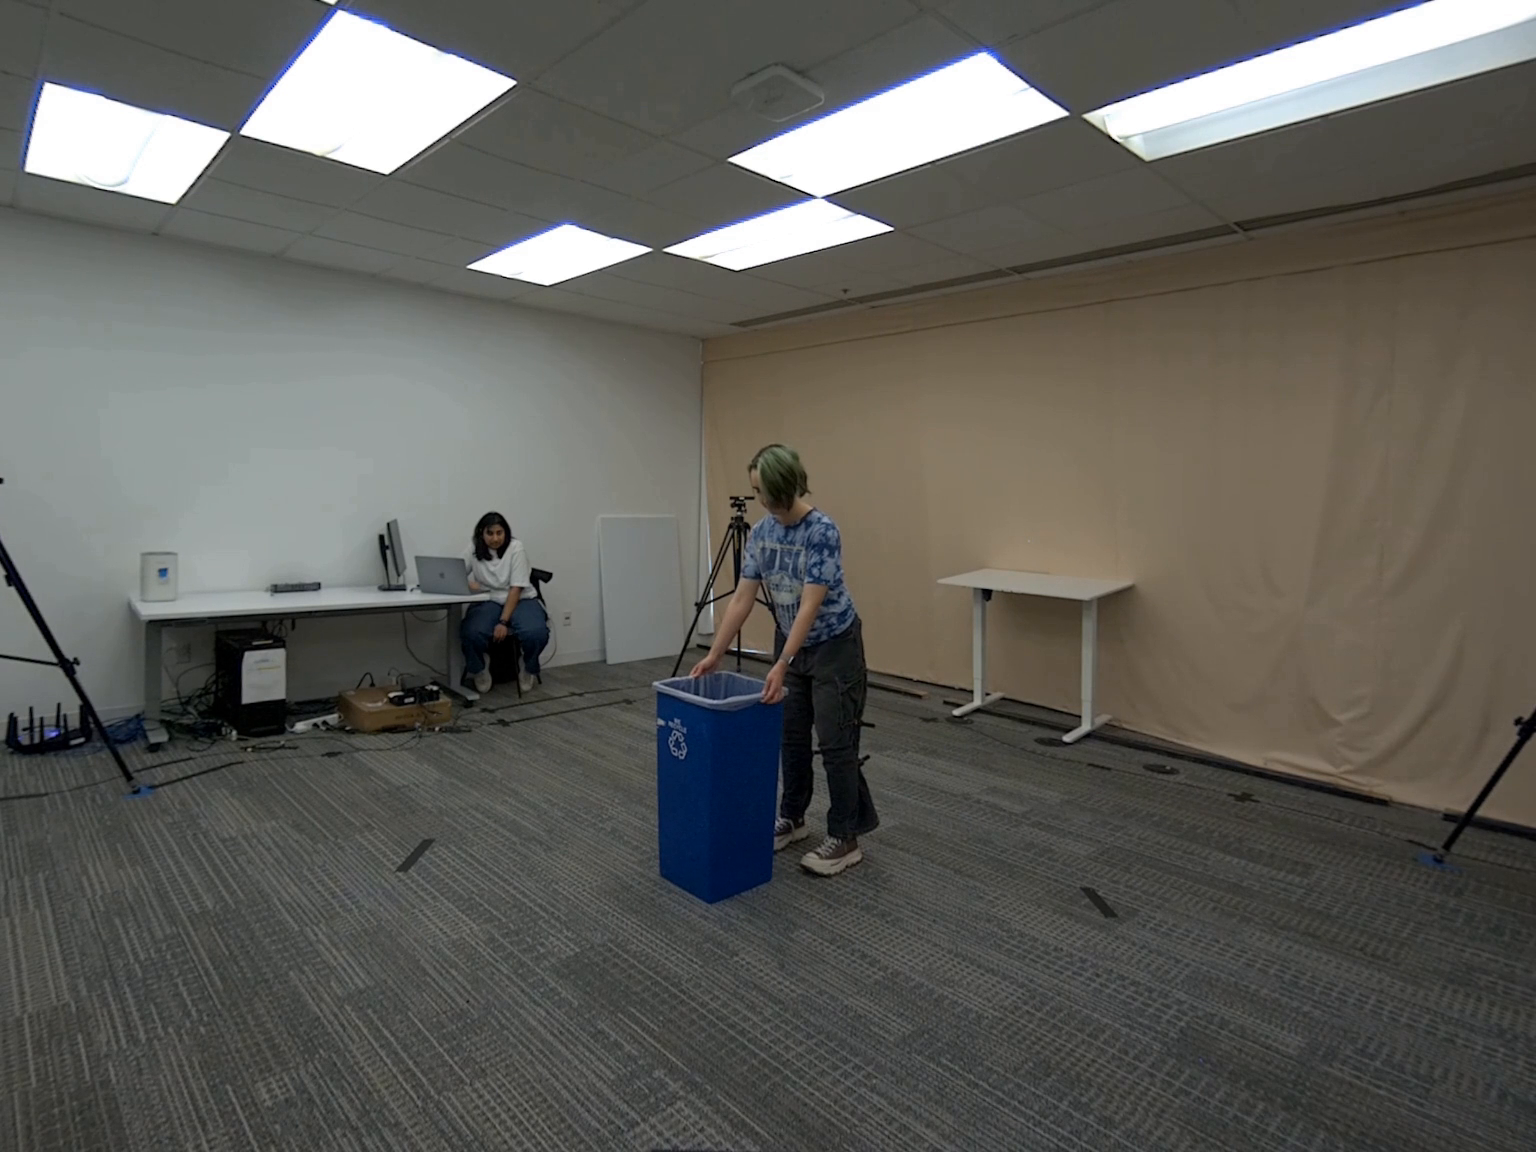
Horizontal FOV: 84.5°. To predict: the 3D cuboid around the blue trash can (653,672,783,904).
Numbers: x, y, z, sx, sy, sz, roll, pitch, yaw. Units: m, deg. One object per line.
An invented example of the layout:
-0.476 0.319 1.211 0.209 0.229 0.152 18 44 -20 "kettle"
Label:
-0.187 0.753 3.057 0.369 0.712 0.383 -3 5 -43 "blue trash can"
